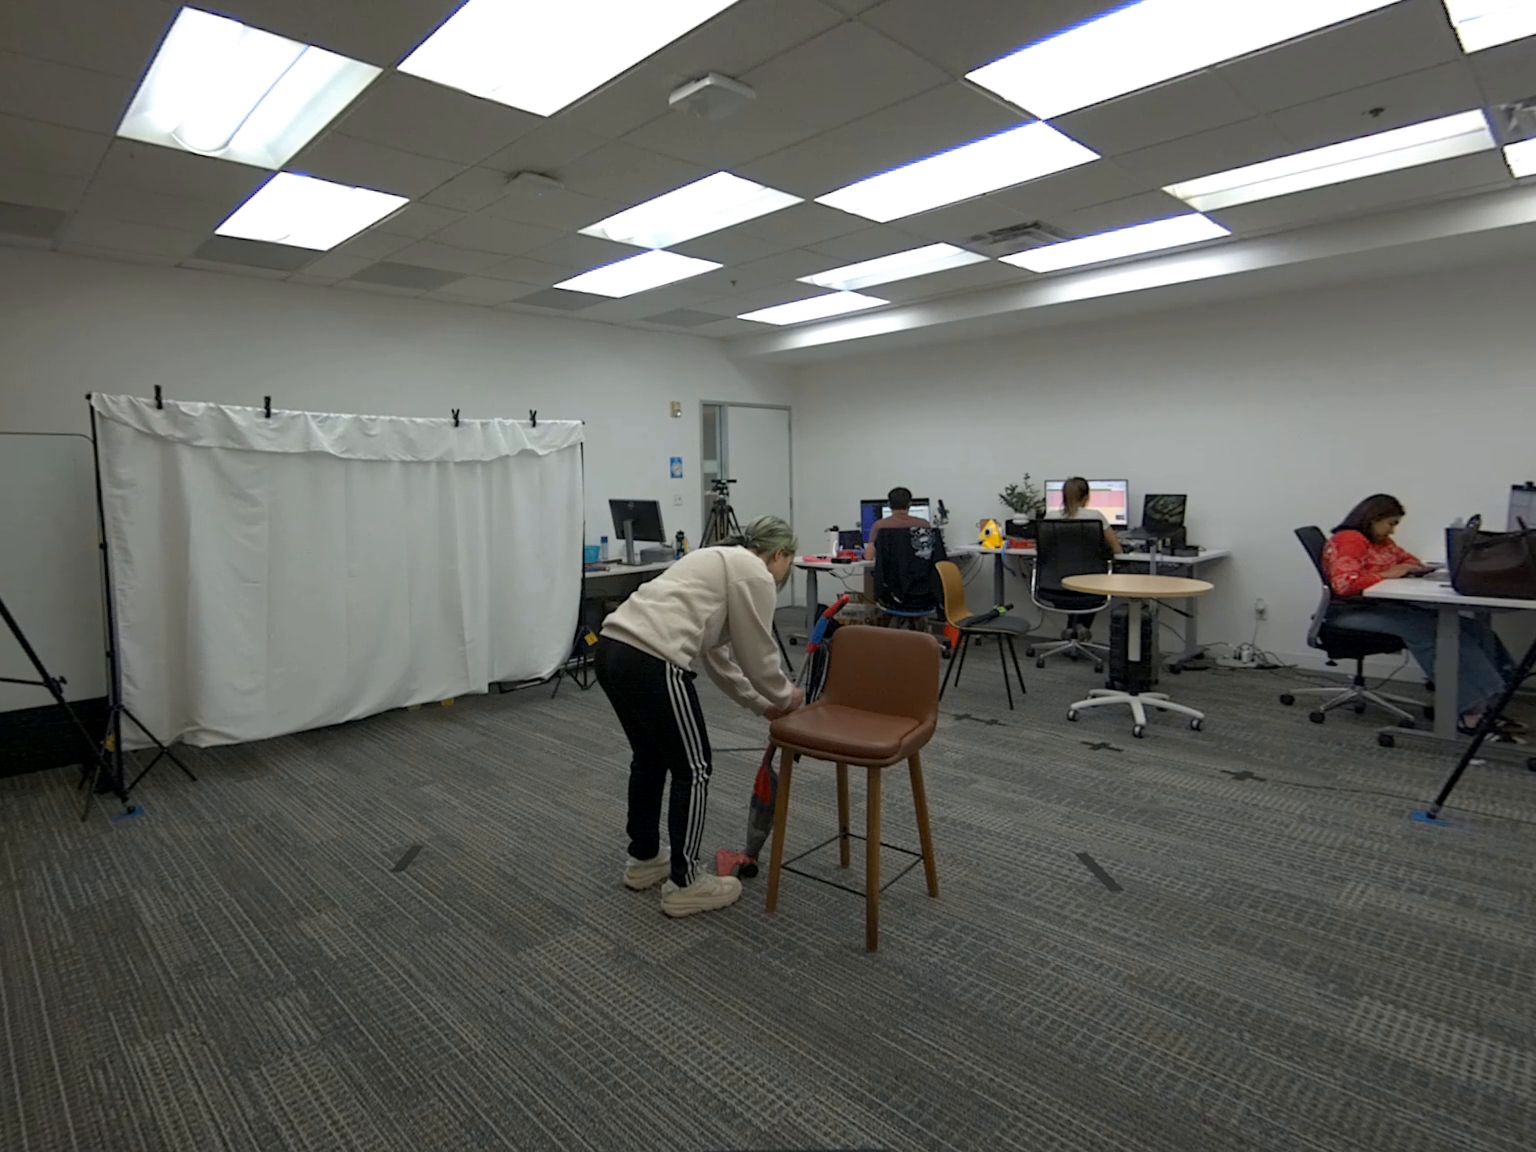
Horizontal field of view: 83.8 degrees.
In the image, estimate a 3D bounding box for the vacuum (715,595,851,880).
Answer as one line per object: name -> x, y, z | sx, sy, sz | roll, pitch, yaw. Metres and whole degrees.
vacuum -> 0.090, 0.563, 3.039 | 0.140, 1.048, 0.260 | 22, 1, -25
